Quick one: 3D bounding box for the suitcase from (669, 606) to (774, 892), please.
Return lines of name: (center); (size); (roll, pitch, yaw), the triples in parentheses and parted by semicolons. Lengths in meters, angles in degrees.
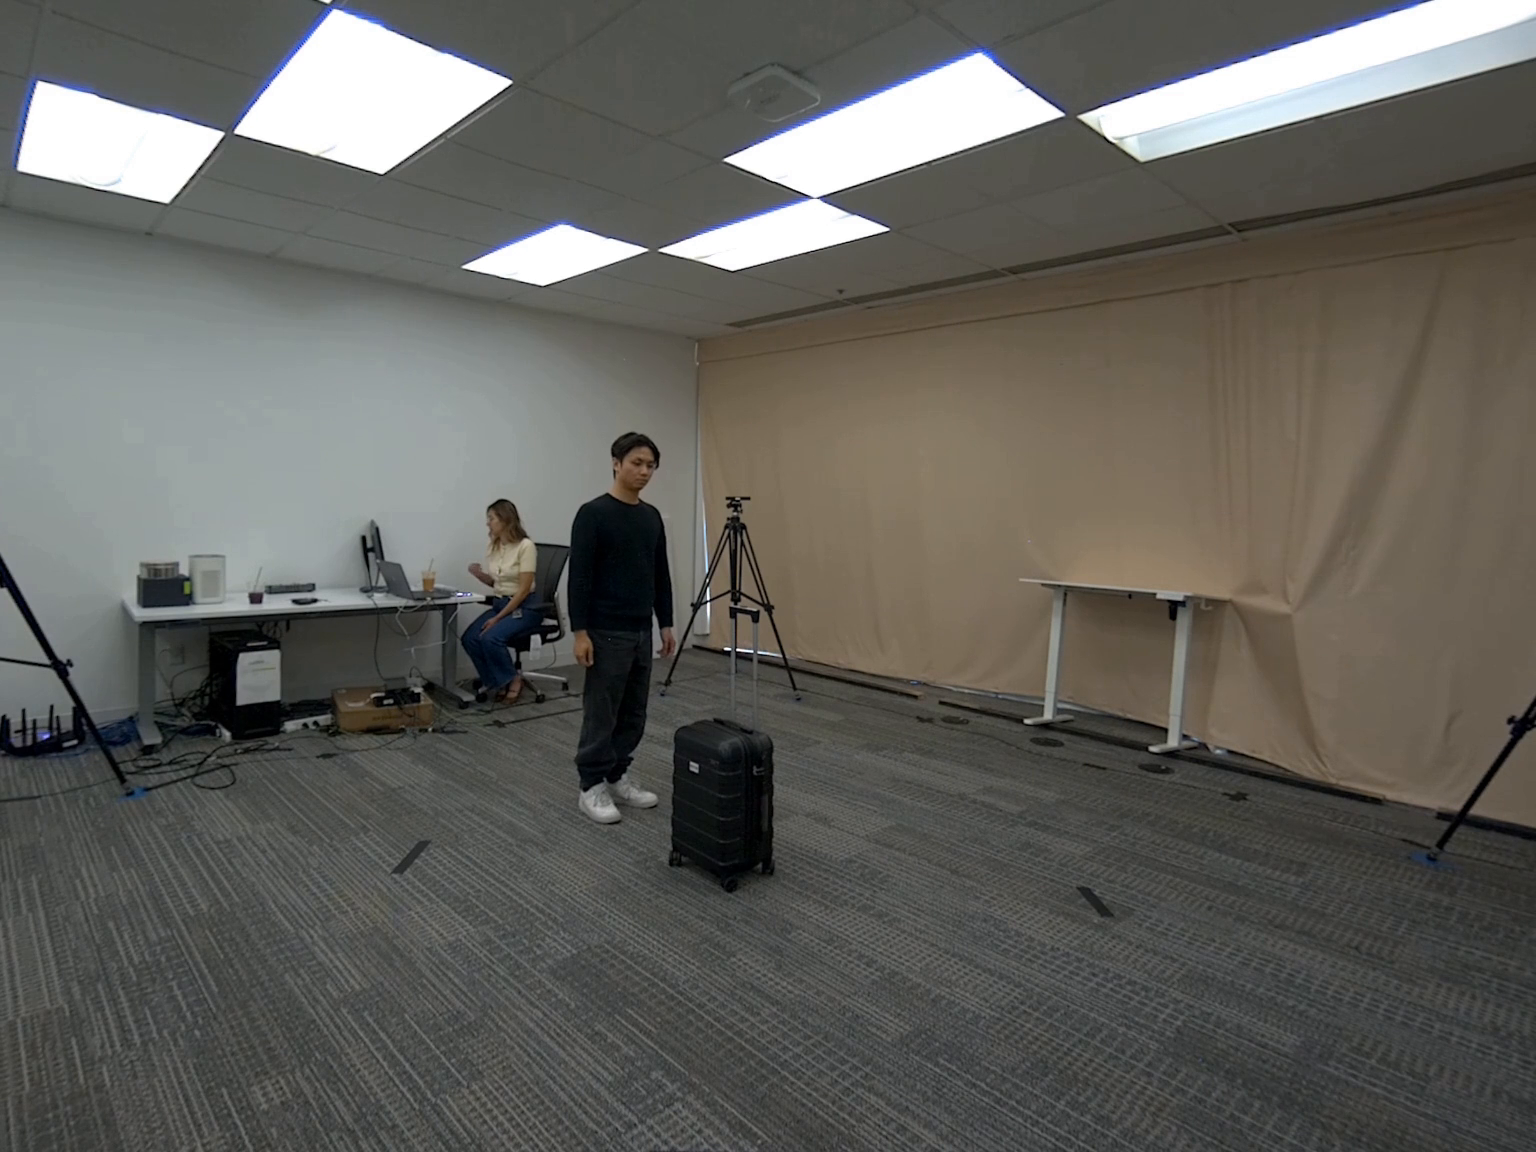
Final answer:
suitcase: (-0.177, 0.625, 3.125); (0.251, 0.976, 0.393); (-4, 5, -42)
